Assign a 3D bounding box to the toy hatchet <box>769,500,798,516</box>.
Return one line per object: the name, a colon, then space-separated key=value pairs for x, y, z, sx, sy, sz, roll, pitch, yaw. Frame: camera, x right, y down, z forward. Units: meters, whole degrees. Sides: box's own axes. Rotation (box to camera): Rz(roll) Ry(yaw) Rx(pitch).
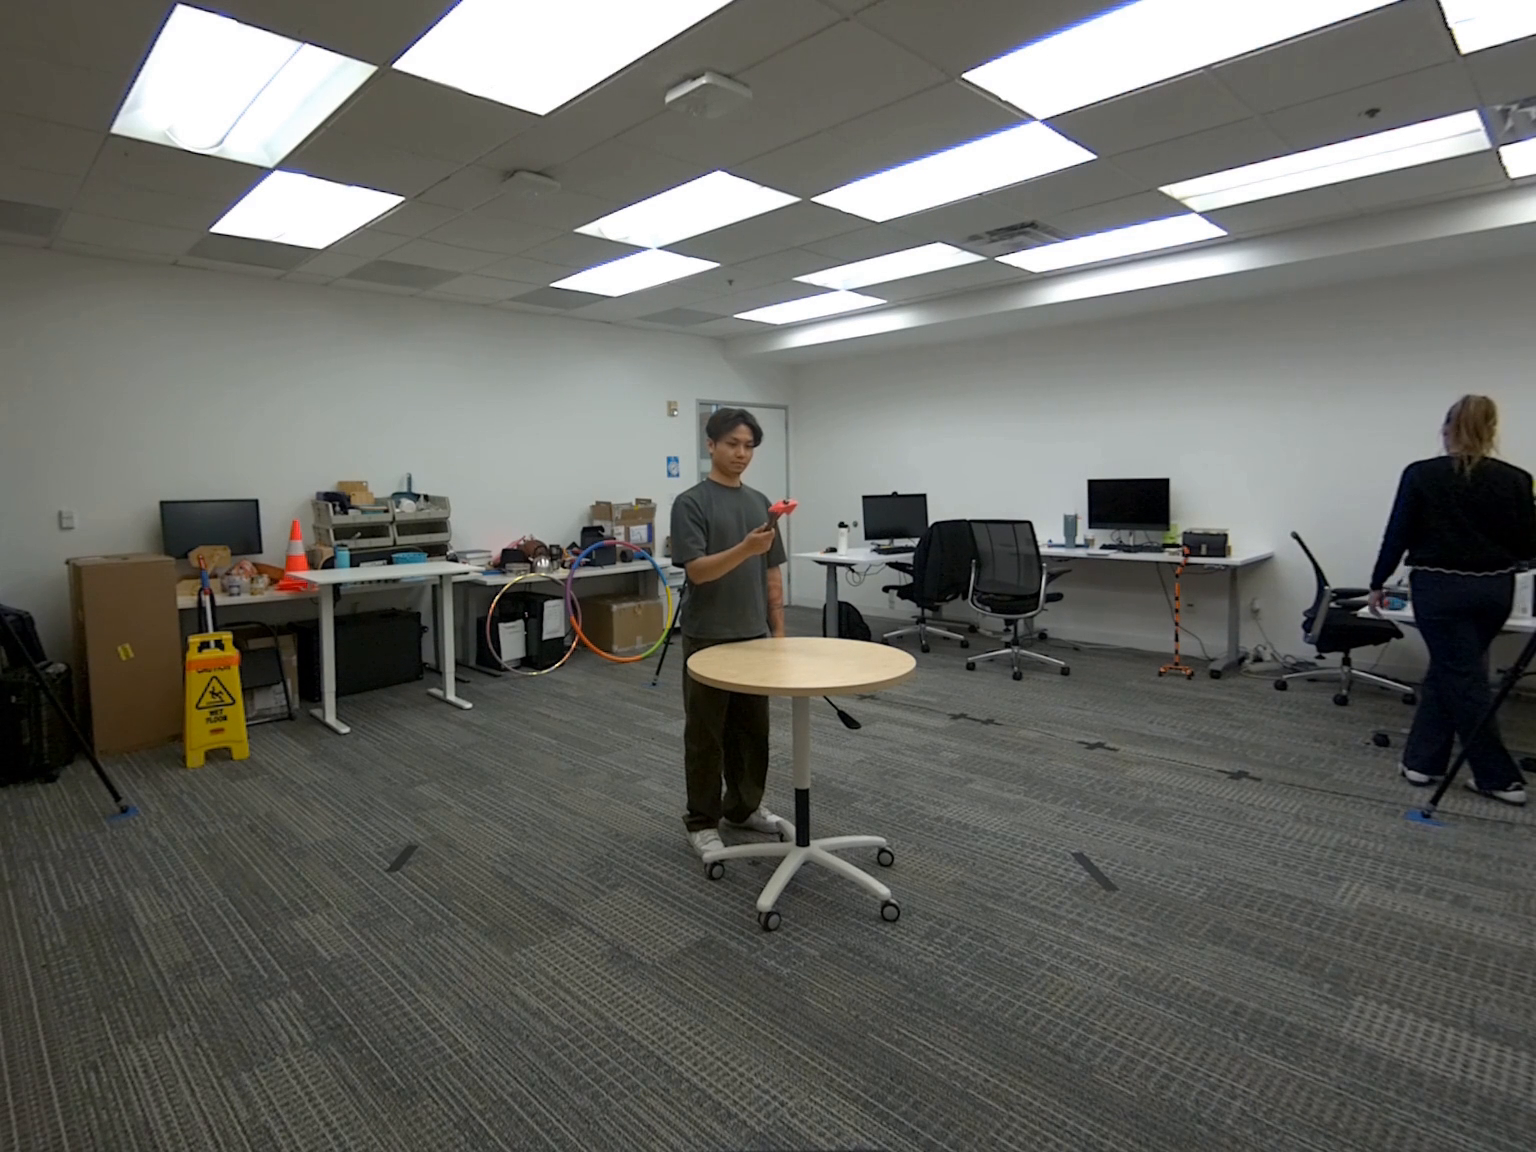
toy hatchet: x=0.023 y=-0.177 z=2.932 sx=0.130 sy=0.030 sz=0.265 roll=-33 pitch=-20 yaw=-26
